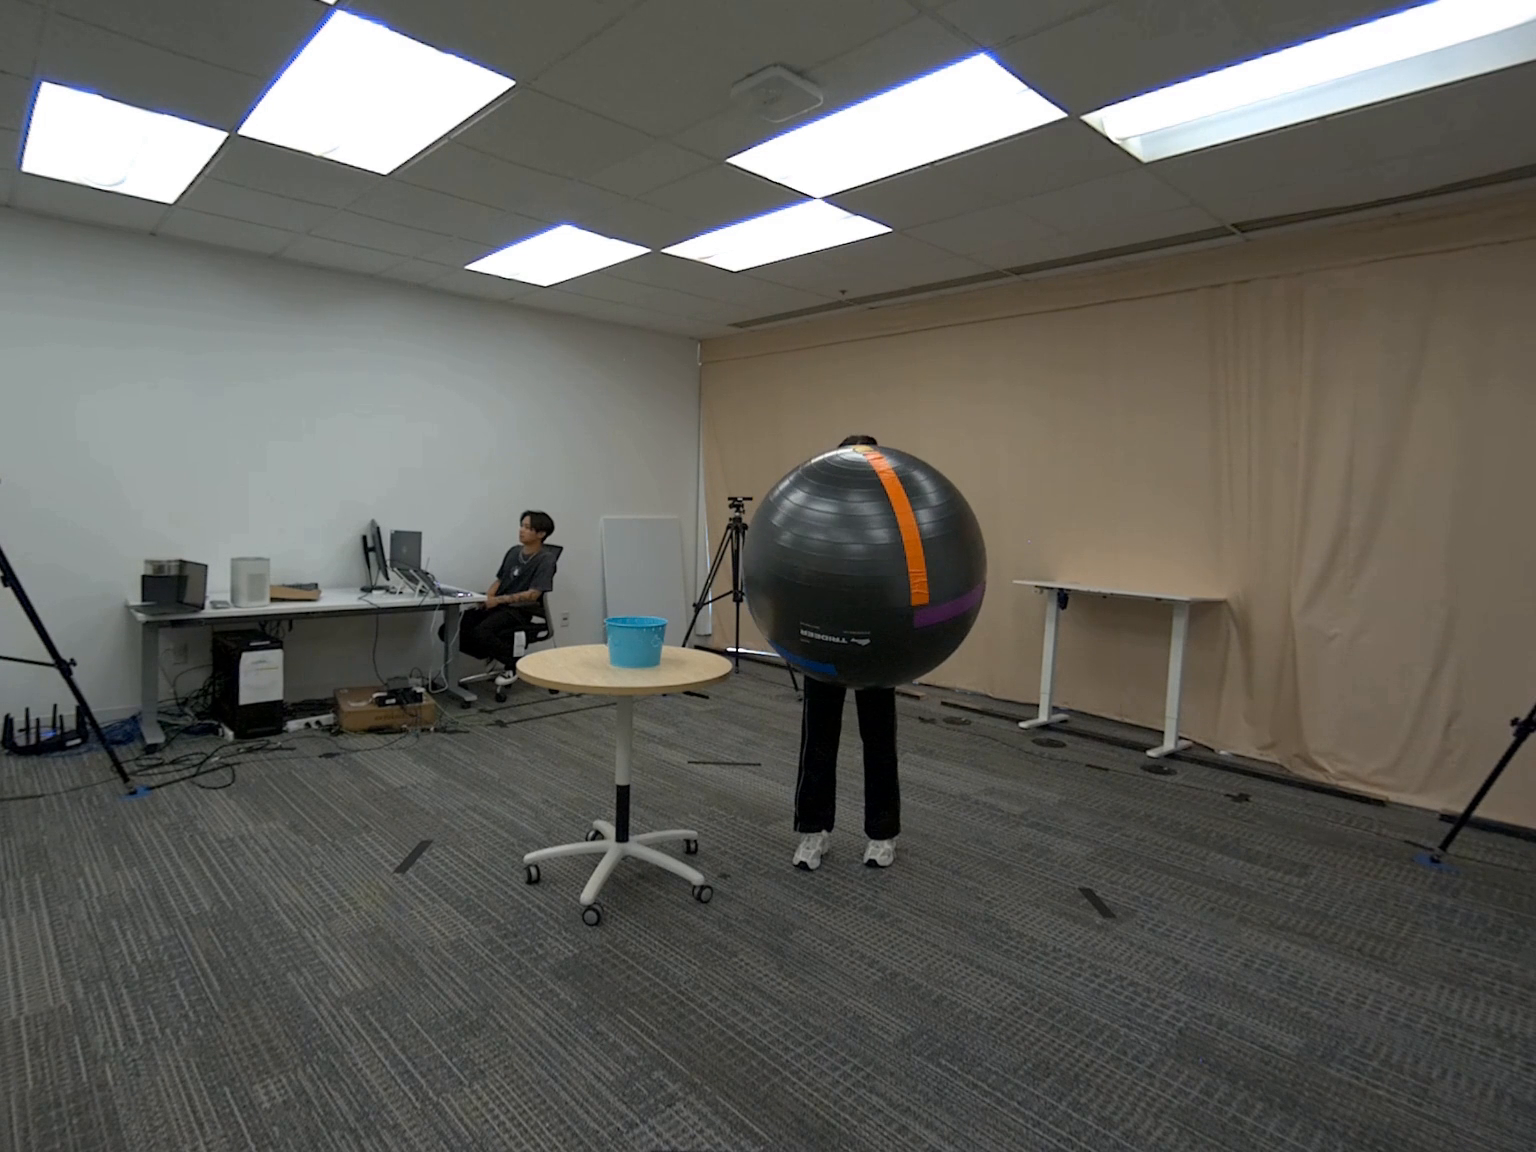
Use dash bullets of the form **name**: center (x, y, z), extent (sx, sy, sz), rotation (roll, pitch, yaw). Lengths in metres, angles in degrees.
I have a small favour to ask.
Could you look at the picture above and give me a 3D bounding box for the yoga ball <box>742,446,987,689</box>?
- **yoga ball**: center (0.304, -0.021, 2.626), extent (0.757, 0.756, 0.761), rotation (1, 4, -1)
